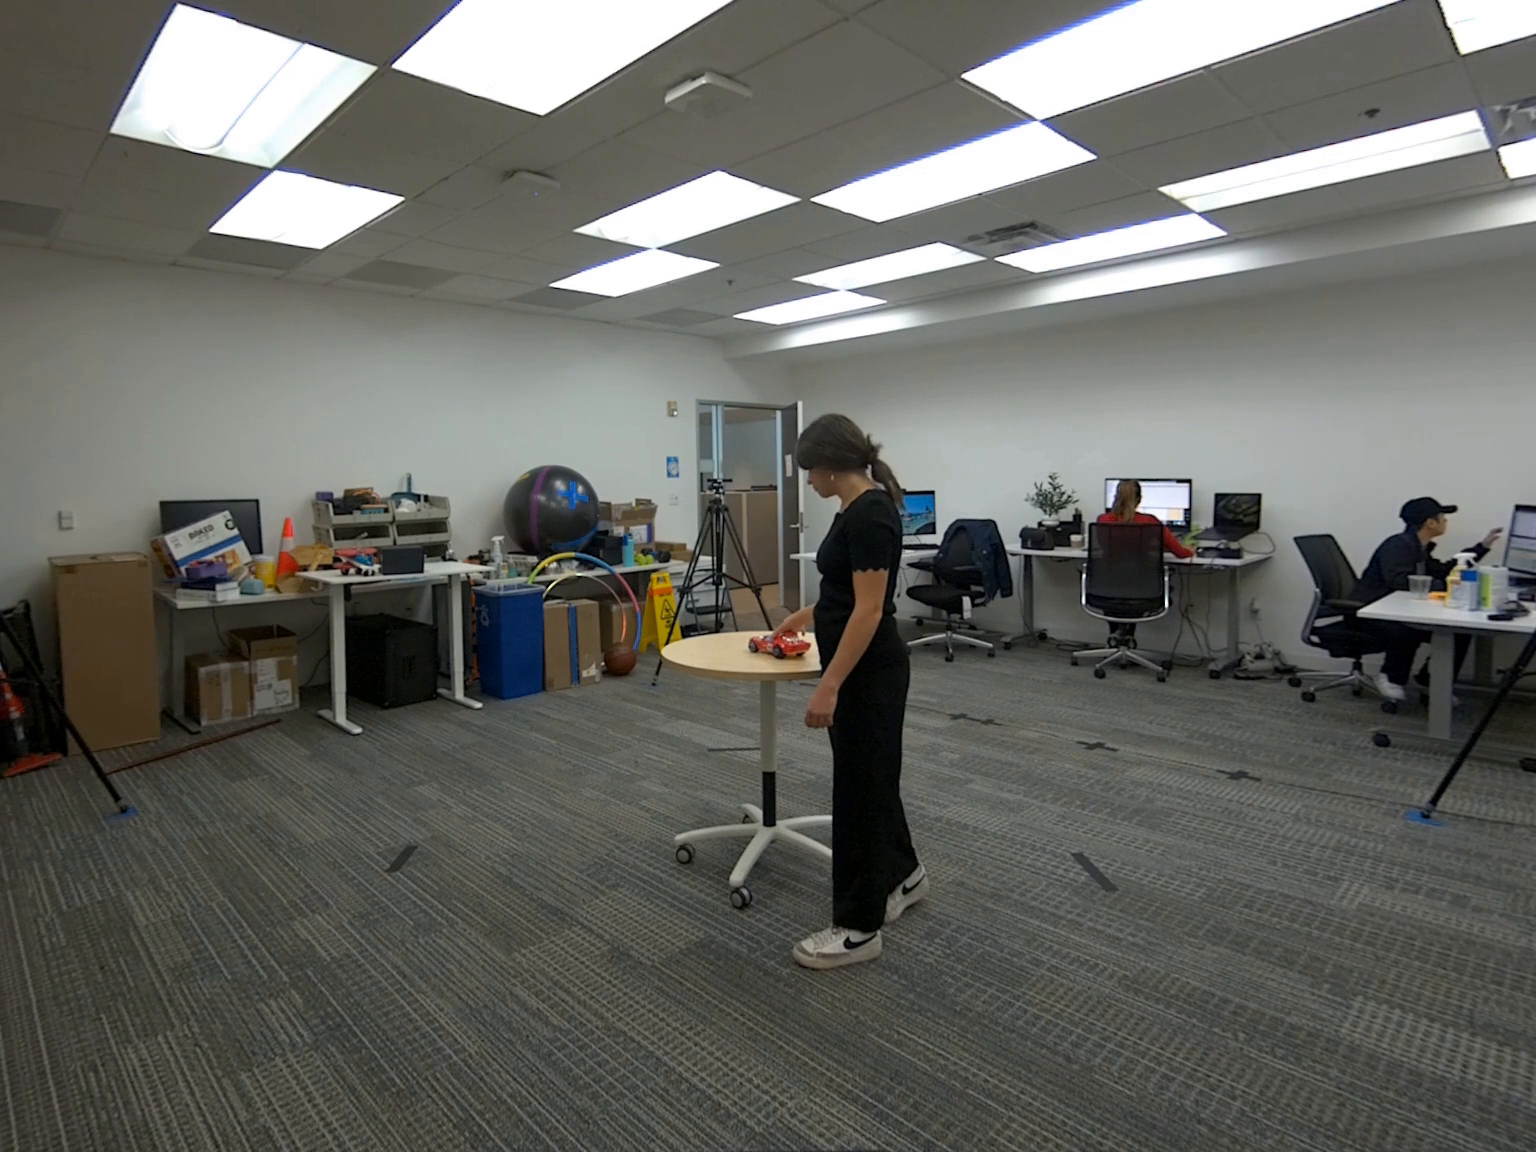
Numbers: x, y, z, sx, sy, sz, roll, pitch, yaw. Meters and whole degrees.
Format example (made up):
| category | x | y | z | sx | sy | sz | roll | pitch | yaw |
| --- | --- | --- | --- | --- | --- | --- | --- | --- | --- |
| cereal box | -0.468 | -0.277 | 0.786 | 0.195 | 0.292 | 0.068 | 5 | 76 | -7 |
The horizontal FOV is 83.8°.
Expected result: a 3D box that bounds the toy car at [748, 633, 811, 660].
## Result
| category | x | y | z | sx | sy | sz | roll | pitch | yaw |
| --- | --- | --- | --- | --- | --- | --- | --- | --- | --- |
| toy car | 0.045 | 0.243 | 2.969 | 0.127 | 0.083 | 0.260 | -4 | -4 | -36 |
